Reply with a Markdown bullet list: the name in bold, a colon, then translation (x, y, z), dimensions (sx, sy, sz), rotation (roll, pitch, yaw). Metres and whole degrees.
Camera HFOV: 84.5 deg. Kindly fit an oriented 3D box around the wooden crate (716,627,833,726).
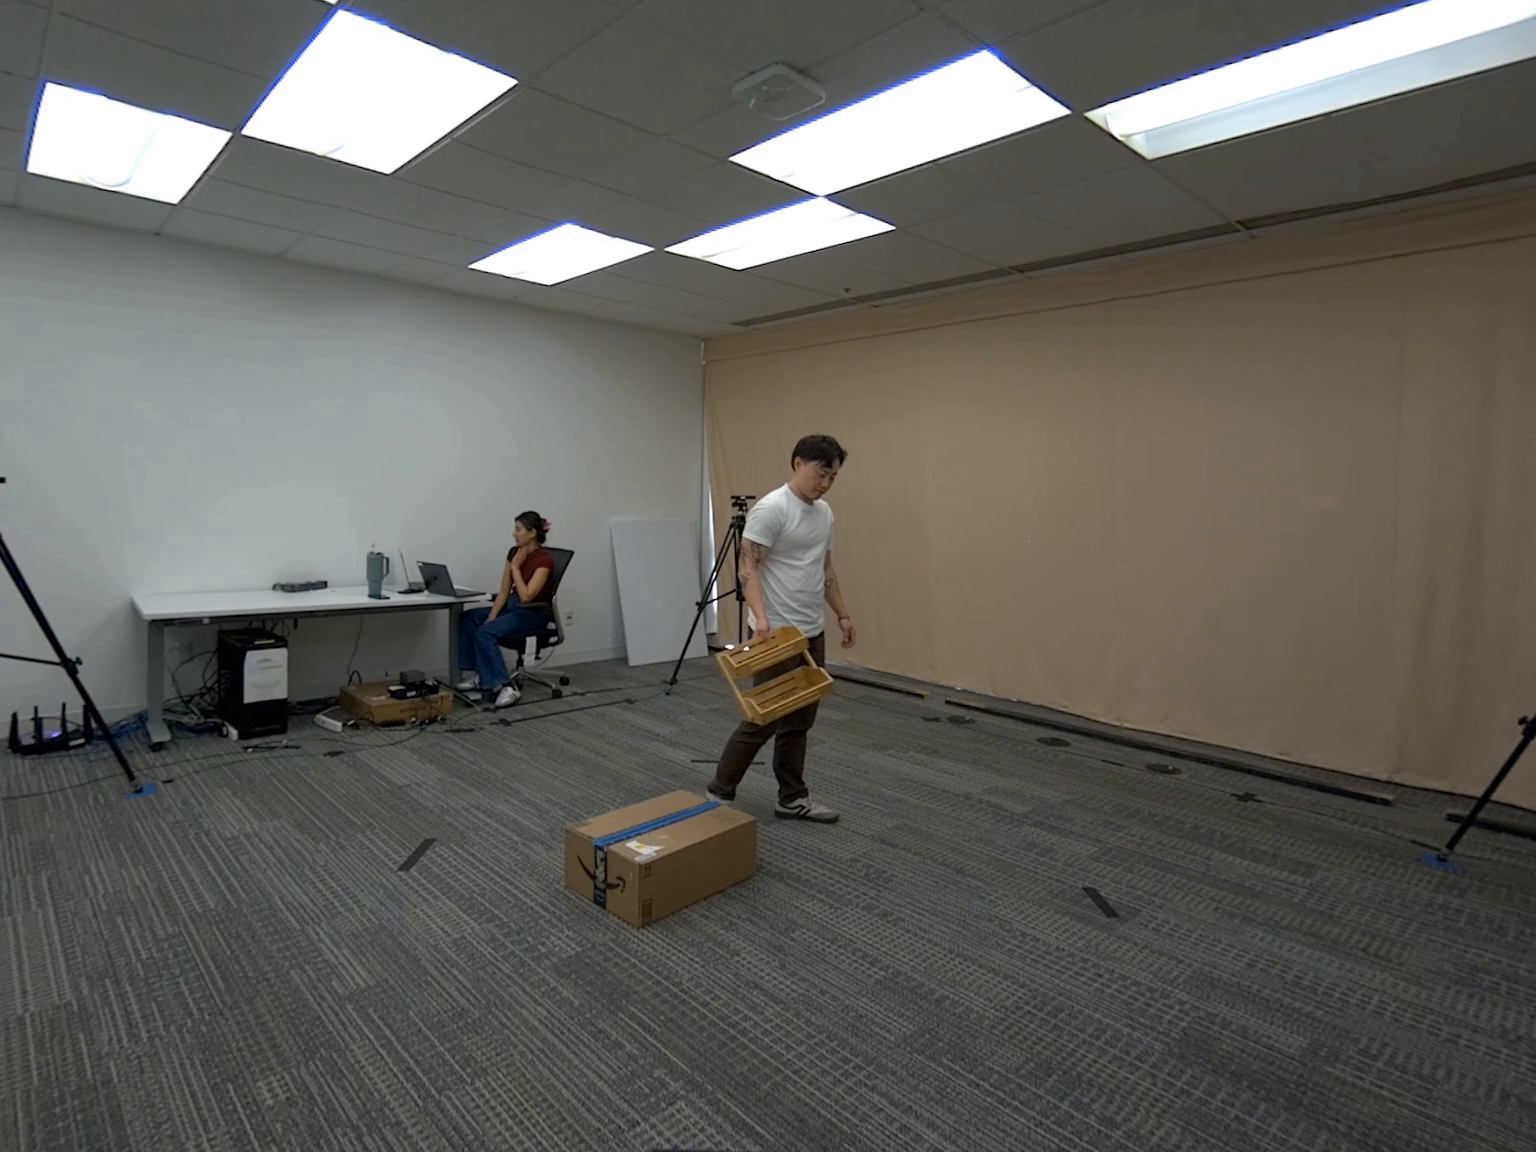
- **wooden crate**: translation (0.011, 0.355, 3.107), dimensions (0.321, 0.273, 0.305), rotation (-21, 1, -20)
